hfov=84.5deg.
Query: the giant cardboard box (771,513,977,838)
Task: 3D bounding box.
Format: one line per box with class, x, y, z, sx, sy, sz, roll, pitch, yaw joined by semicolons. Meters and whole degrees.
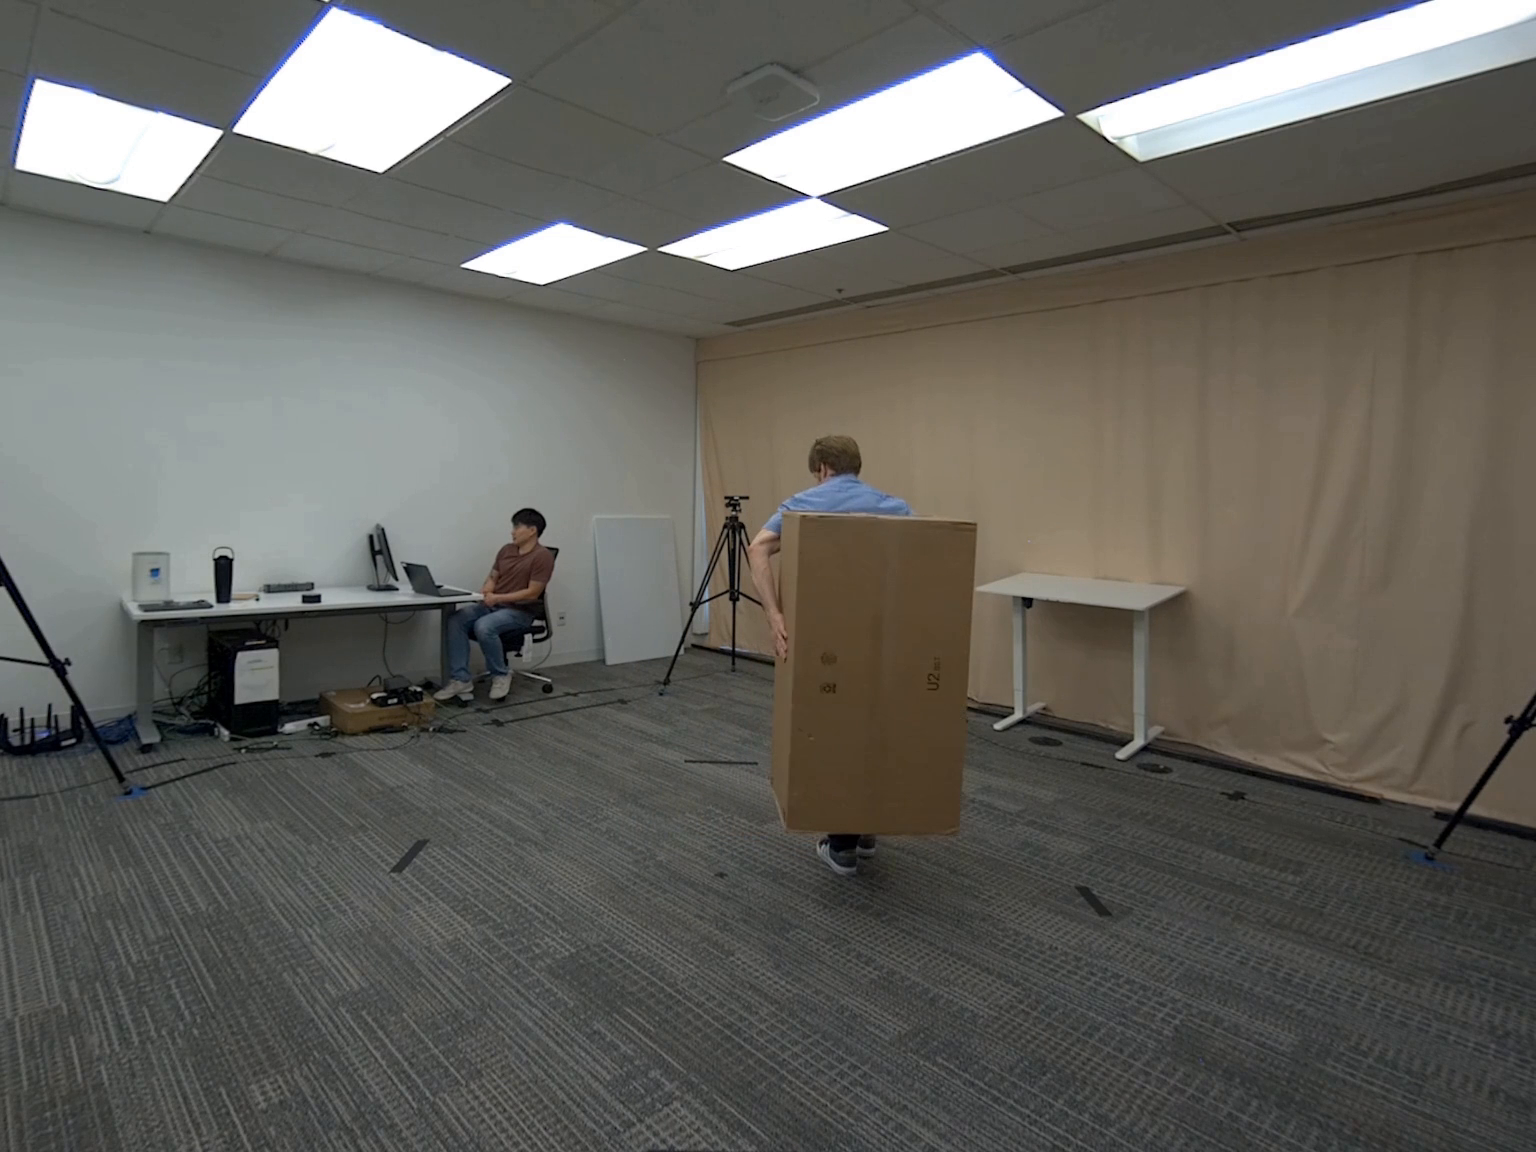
giant cardboard box;0.333;0.308;2.871;0.581;1.023;0.450;2;5;-6
